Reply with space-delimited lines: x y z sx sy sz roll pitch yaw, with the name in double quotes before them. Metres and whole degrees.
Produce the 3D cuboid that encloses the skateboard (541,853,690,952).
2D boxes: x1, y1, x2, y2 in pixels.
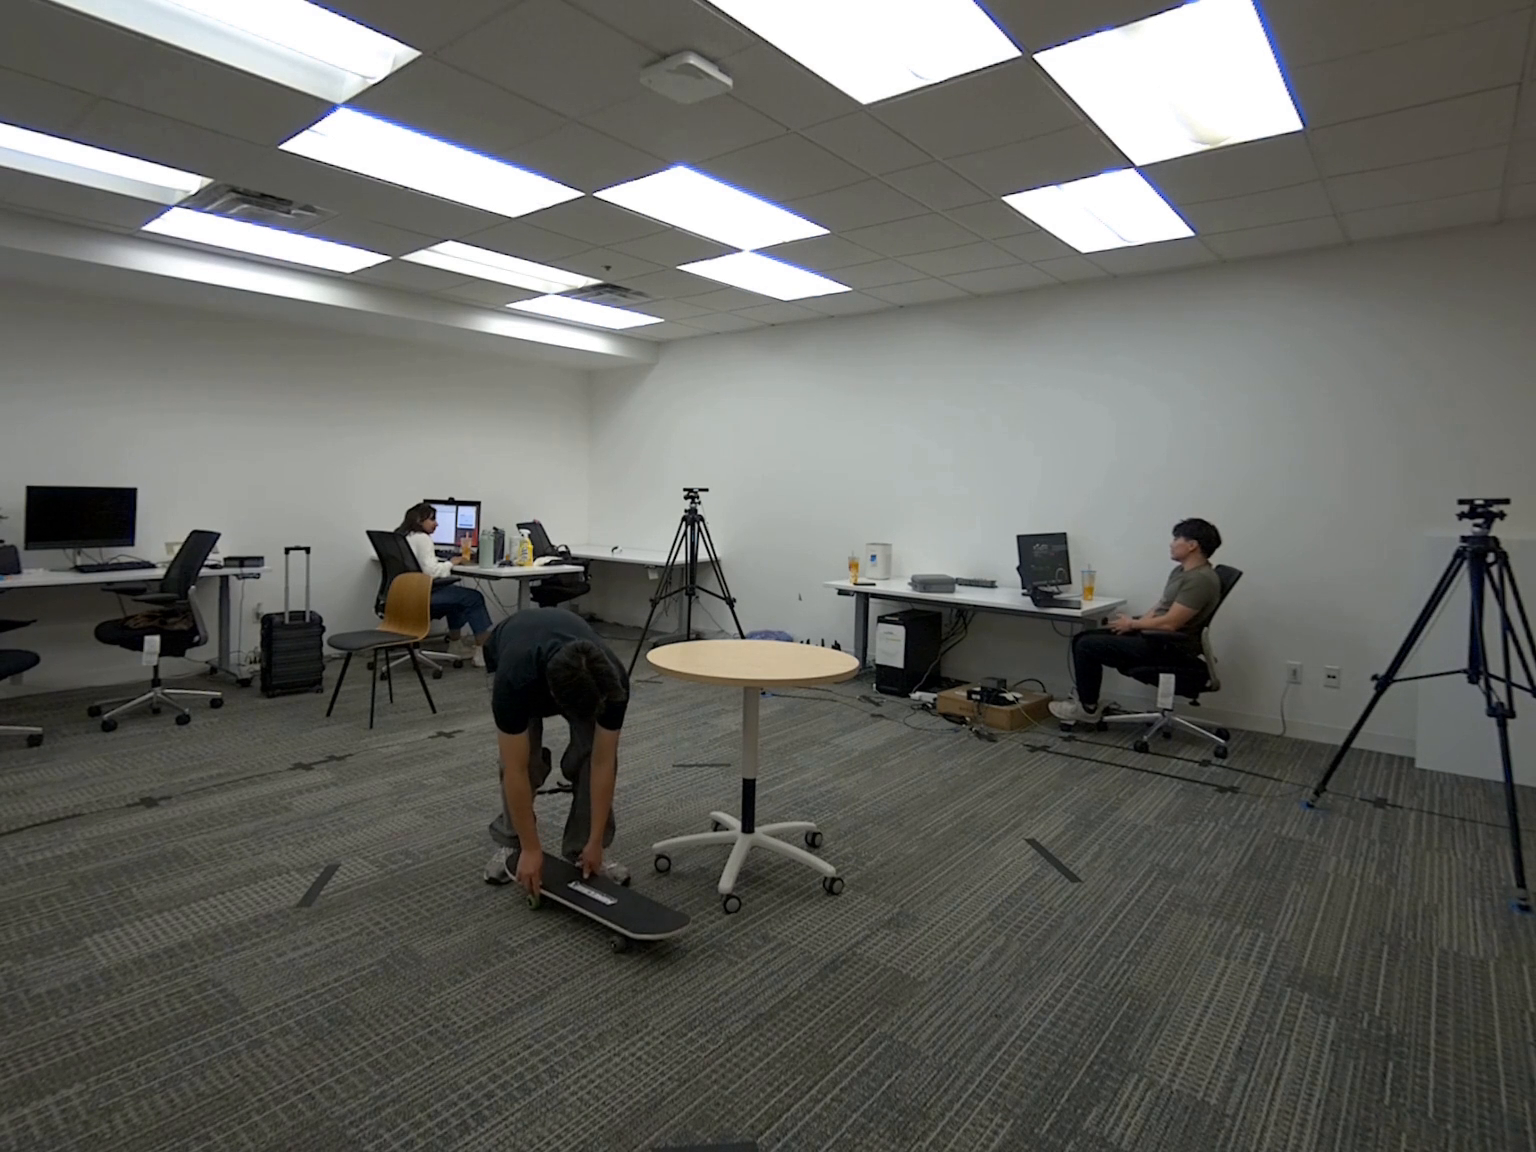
"skateboard" -0.569 1.044 2.718 0.812 0.110 0.188 5 6 39
